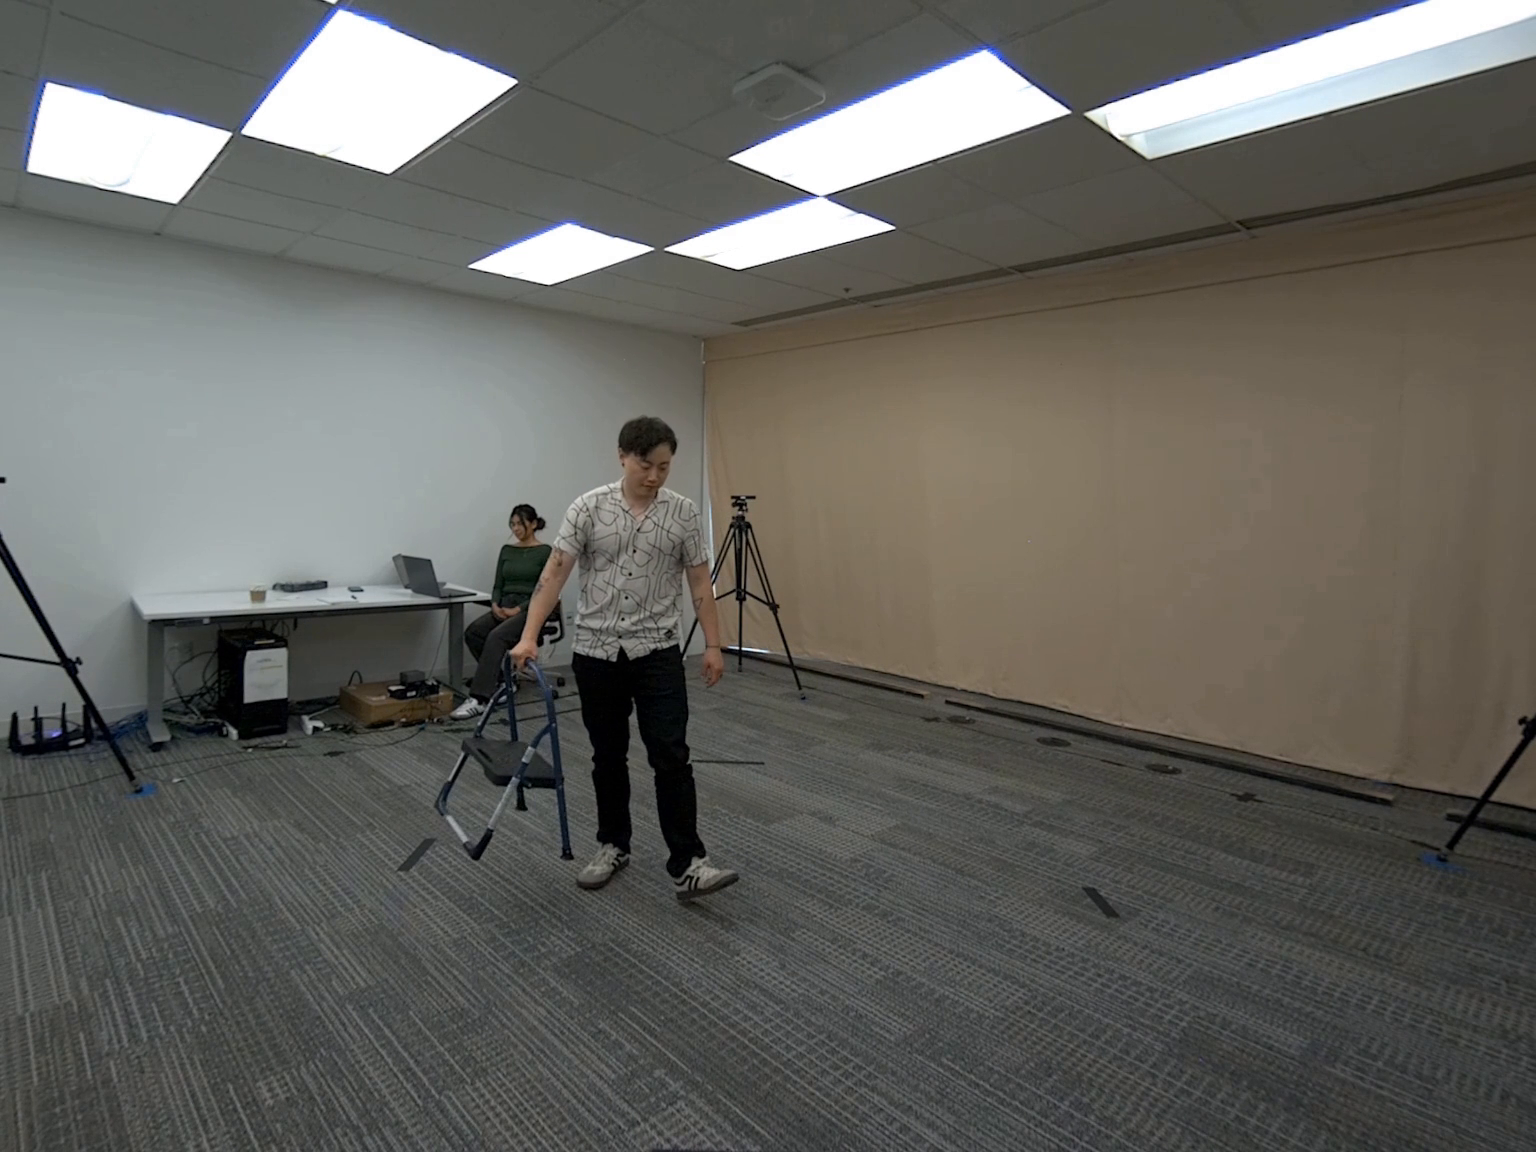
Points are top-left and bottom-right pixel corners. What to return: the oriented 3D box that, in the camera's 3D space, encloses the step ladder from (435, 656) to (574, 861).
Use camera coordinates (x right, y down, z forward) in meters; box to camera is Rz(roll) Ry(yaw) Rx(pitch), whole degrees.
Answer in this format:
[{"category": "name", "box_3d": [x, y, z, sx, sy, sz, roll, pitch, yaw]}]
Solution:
[{"category": "step ladder", "box_3d": [-0.822, 0.575, 2.813, 0.339, 0.606, 0.442, 14, 0, -39]}]
